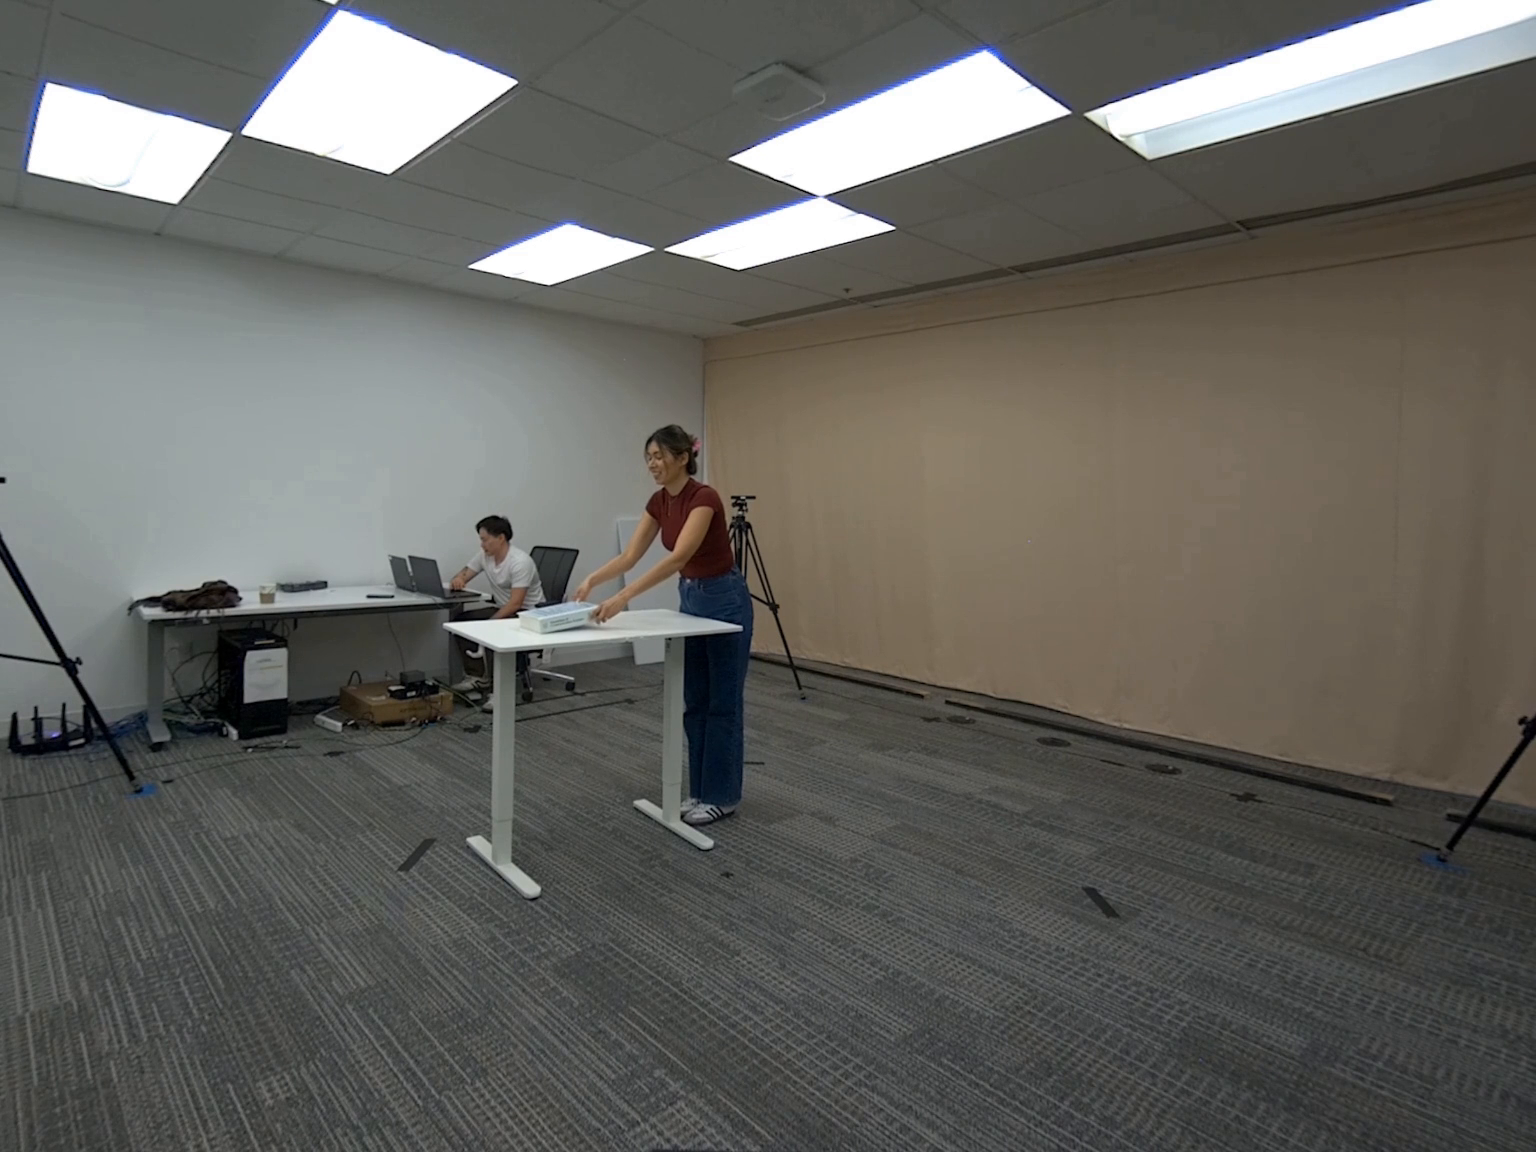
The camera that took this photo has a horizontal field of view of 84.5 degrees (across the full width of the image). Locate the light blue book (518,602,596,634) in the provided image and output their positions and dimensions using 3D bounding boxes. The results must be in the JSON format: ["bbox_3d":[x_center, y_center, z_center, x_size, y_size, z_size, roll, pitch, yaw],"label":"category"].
[{"bbox_3d":[-0.808,0.158,3.181,0.256,0.058,0.196,-12,13,-41],"label":"light blue book"}]
